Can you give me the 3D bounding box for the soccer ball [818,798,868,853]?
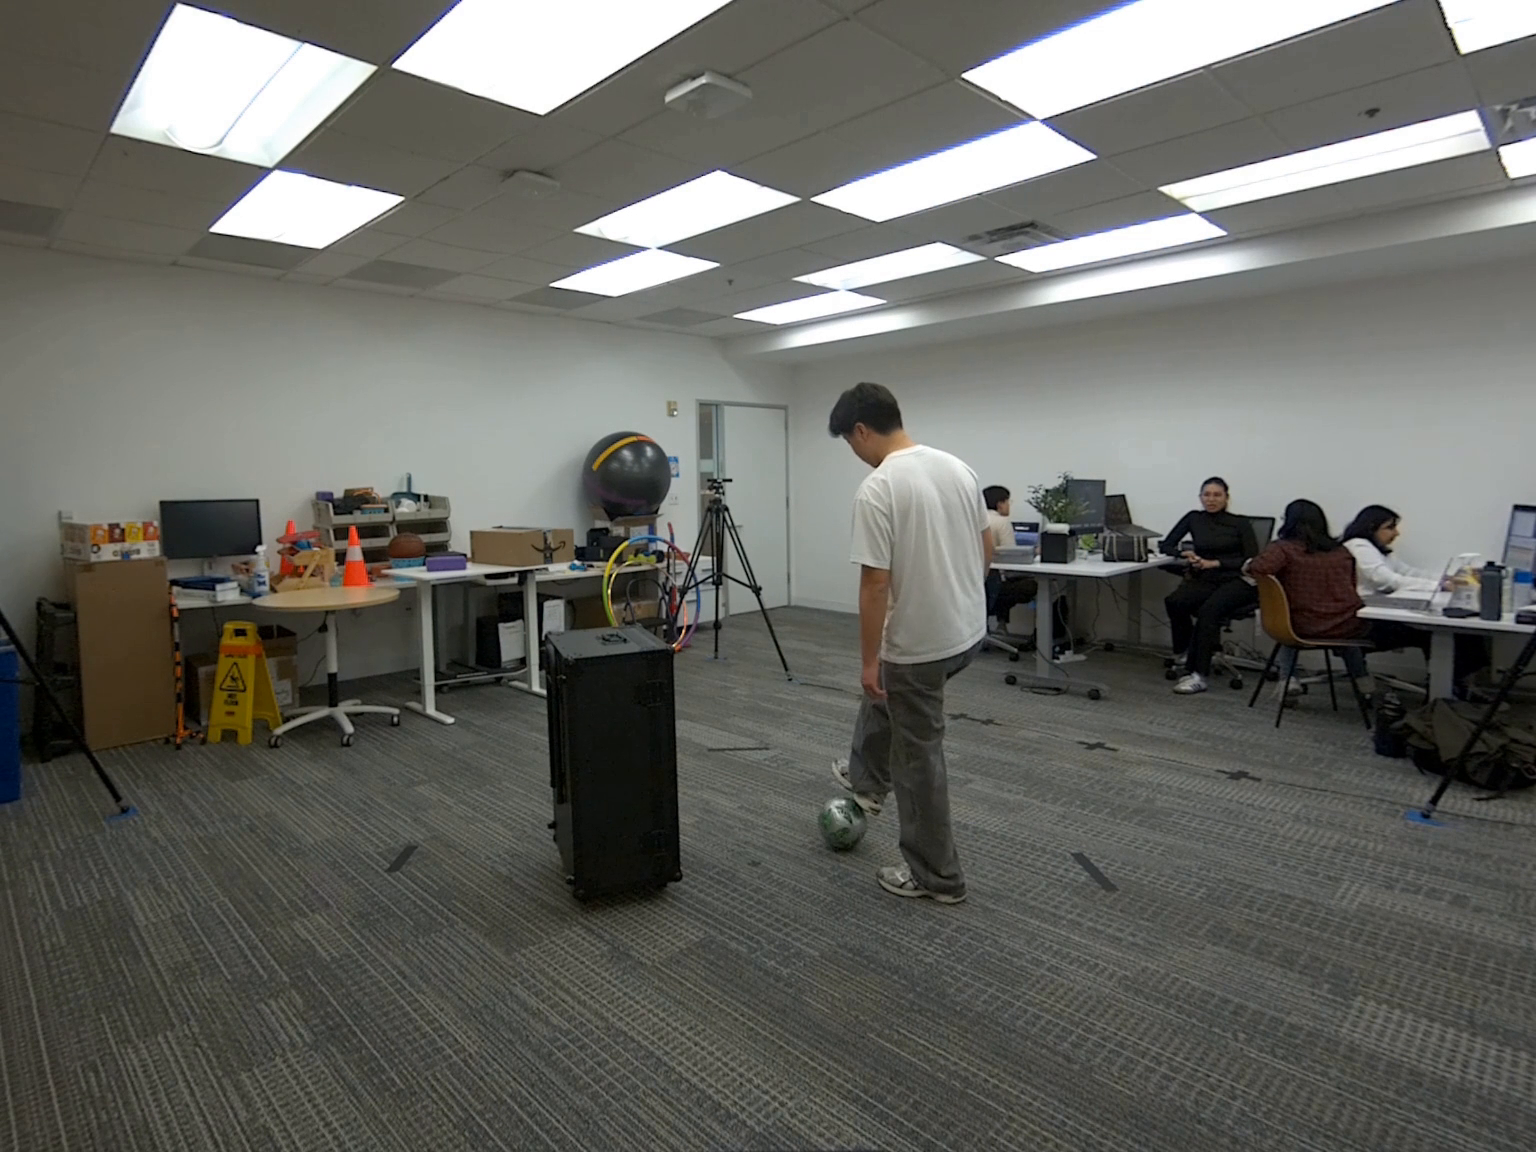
[{"bbox_3d":[0.283,0.929,3.218,0.187,0.187,0.188,-1,5,-2],"label":"soccer ball"}]
